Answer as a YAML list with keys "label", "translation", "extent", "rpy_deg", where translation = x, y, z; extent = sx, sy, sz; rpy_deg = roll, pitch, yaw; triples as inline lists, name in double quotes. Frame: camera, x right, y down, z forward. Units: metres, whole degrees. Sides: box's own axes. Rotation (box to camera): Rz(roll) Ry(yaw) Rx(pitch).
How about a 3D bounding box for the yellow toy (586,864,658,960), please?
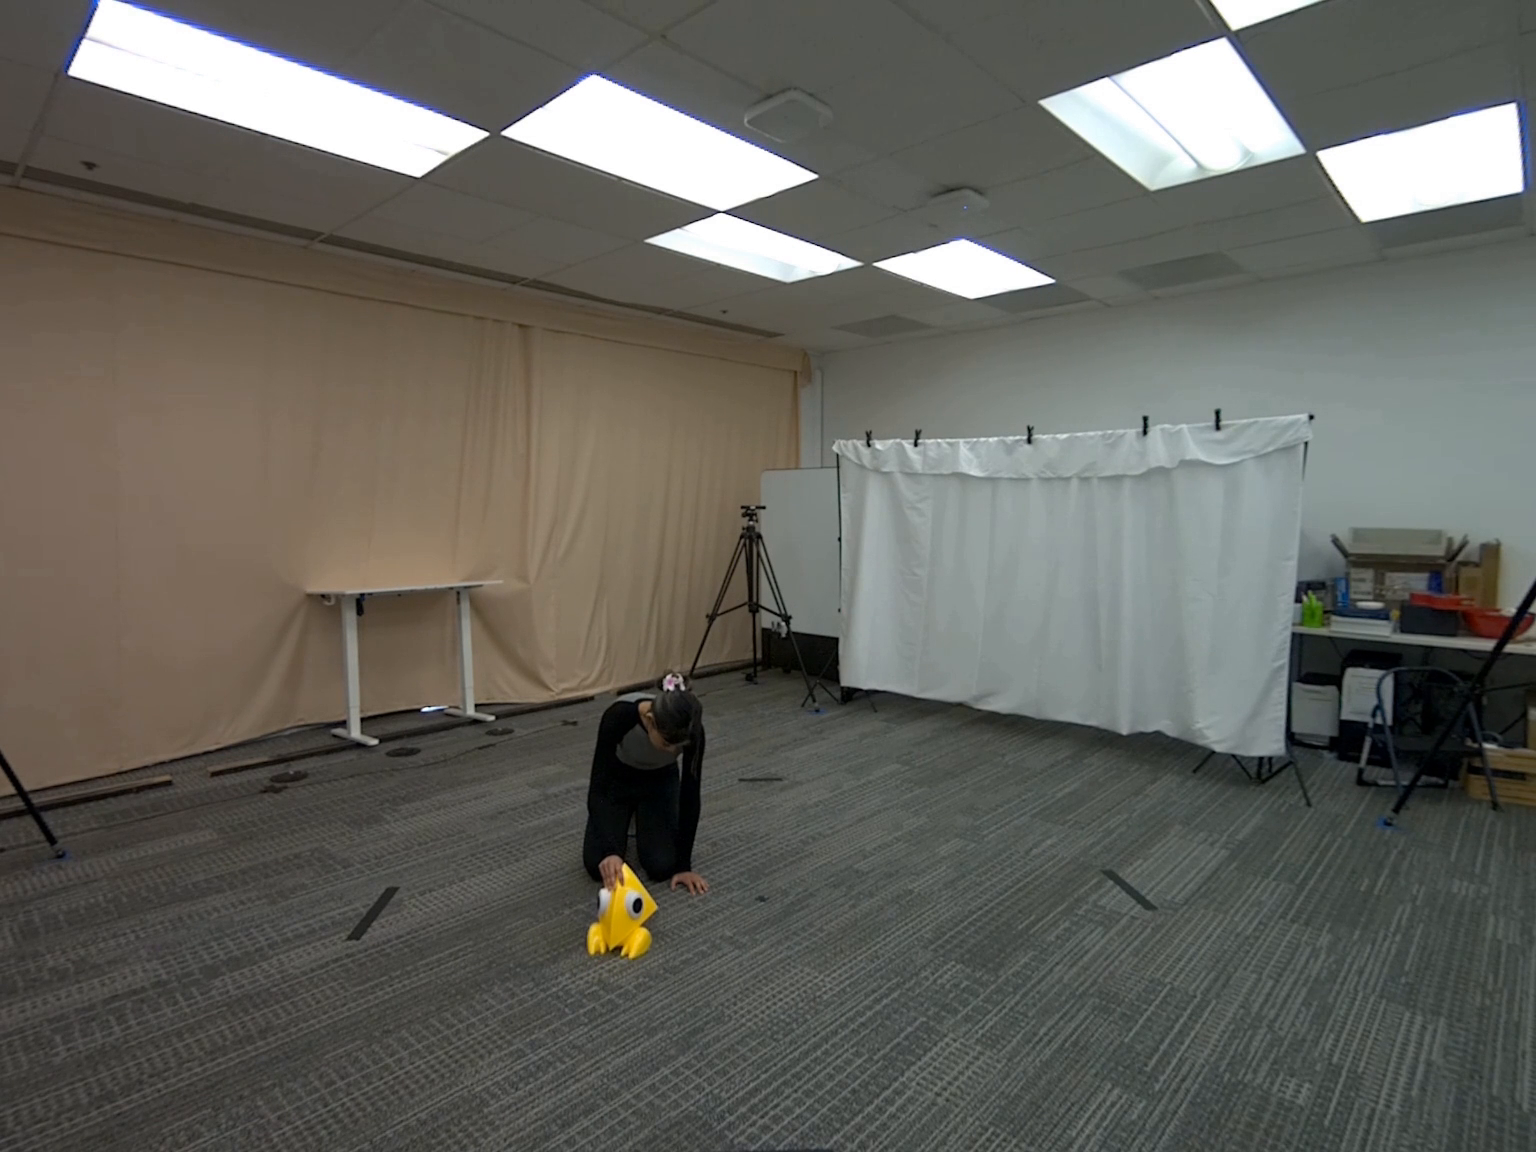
- label: "yellow toy"
  translation: [-0.473, 1.056, 2.684]
  extent: [0.207, 0.230, 0.191]
  rpy_deg: [2, 3, 9]
